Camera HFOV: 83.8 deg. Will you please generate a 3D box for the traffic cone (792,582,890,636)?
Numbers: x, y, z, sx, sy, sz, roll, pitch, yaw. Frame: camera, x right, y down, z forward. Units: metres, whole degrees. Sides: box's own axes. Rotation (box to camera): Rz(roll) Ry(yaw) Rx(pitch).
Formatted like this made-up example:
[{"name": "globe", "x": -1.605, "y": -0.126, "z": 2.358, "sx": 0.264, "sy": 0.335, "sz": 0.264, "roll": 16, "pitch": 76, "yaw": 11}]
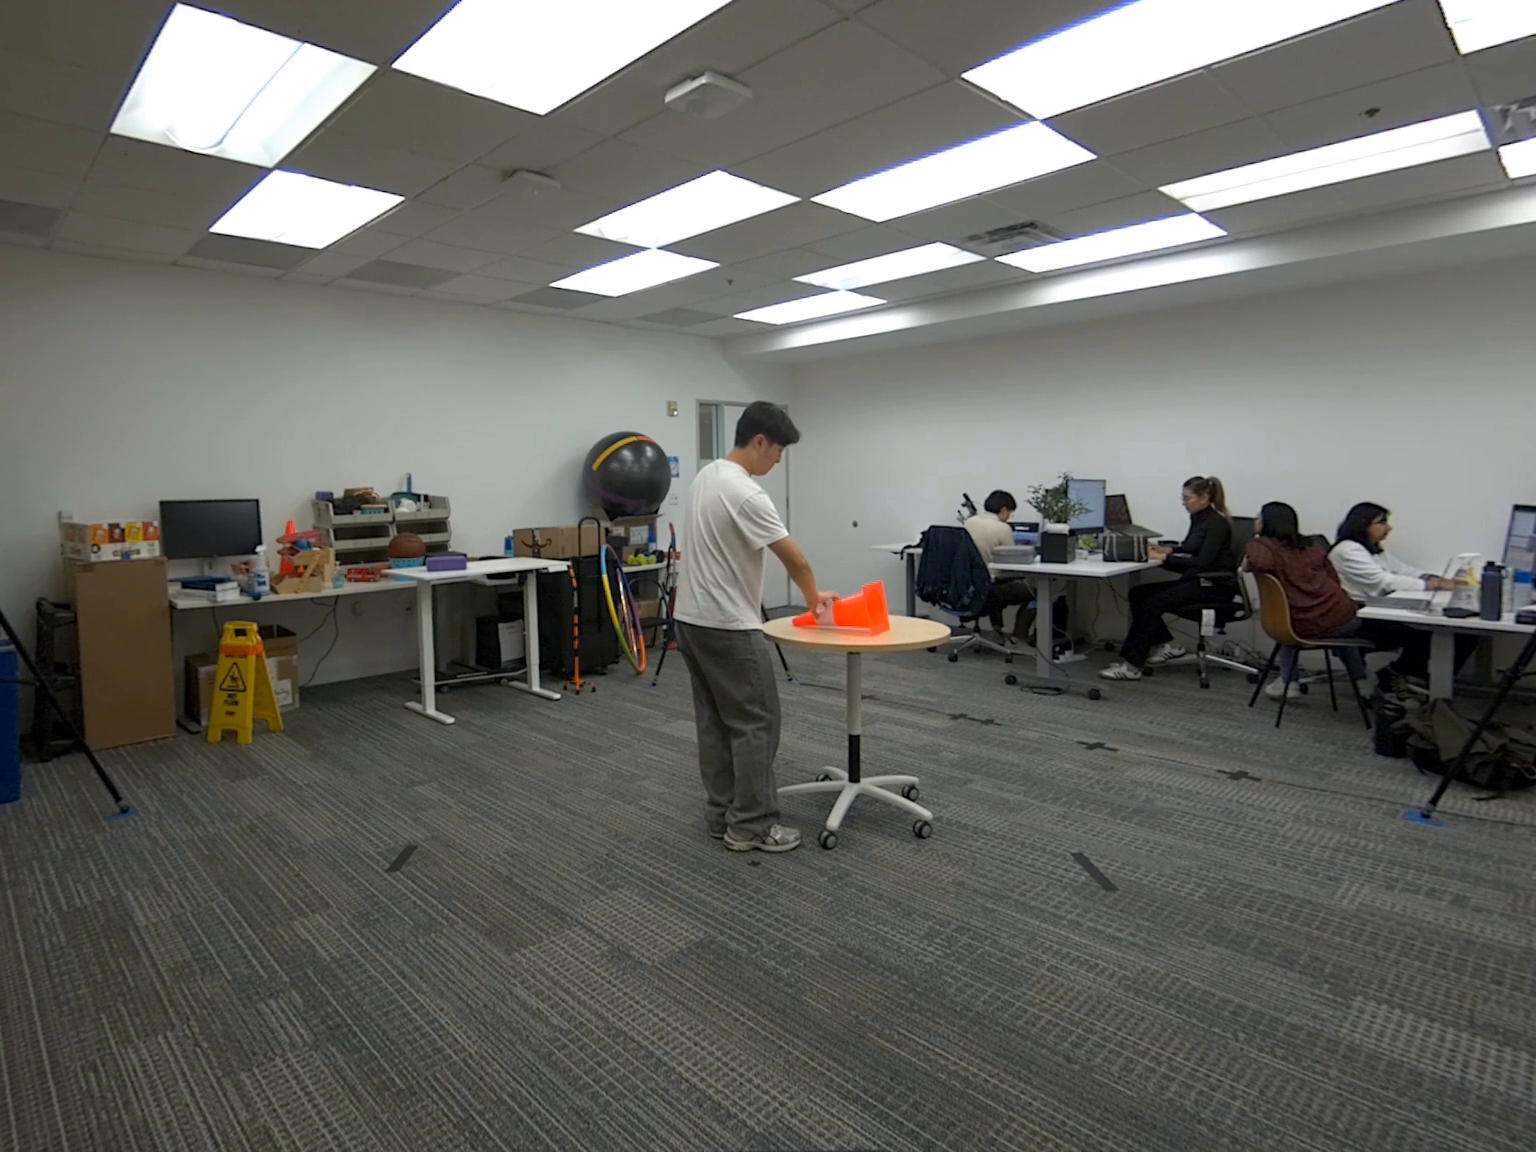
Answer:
[{"name": "traffic cone", "x": 0.265, "y": 0.156, "z": 3.467, "sx": 0.392, "sy": 0.204, "sz": 0.200, "roll": -11, "pitch": -1, "yaw": 32}]
